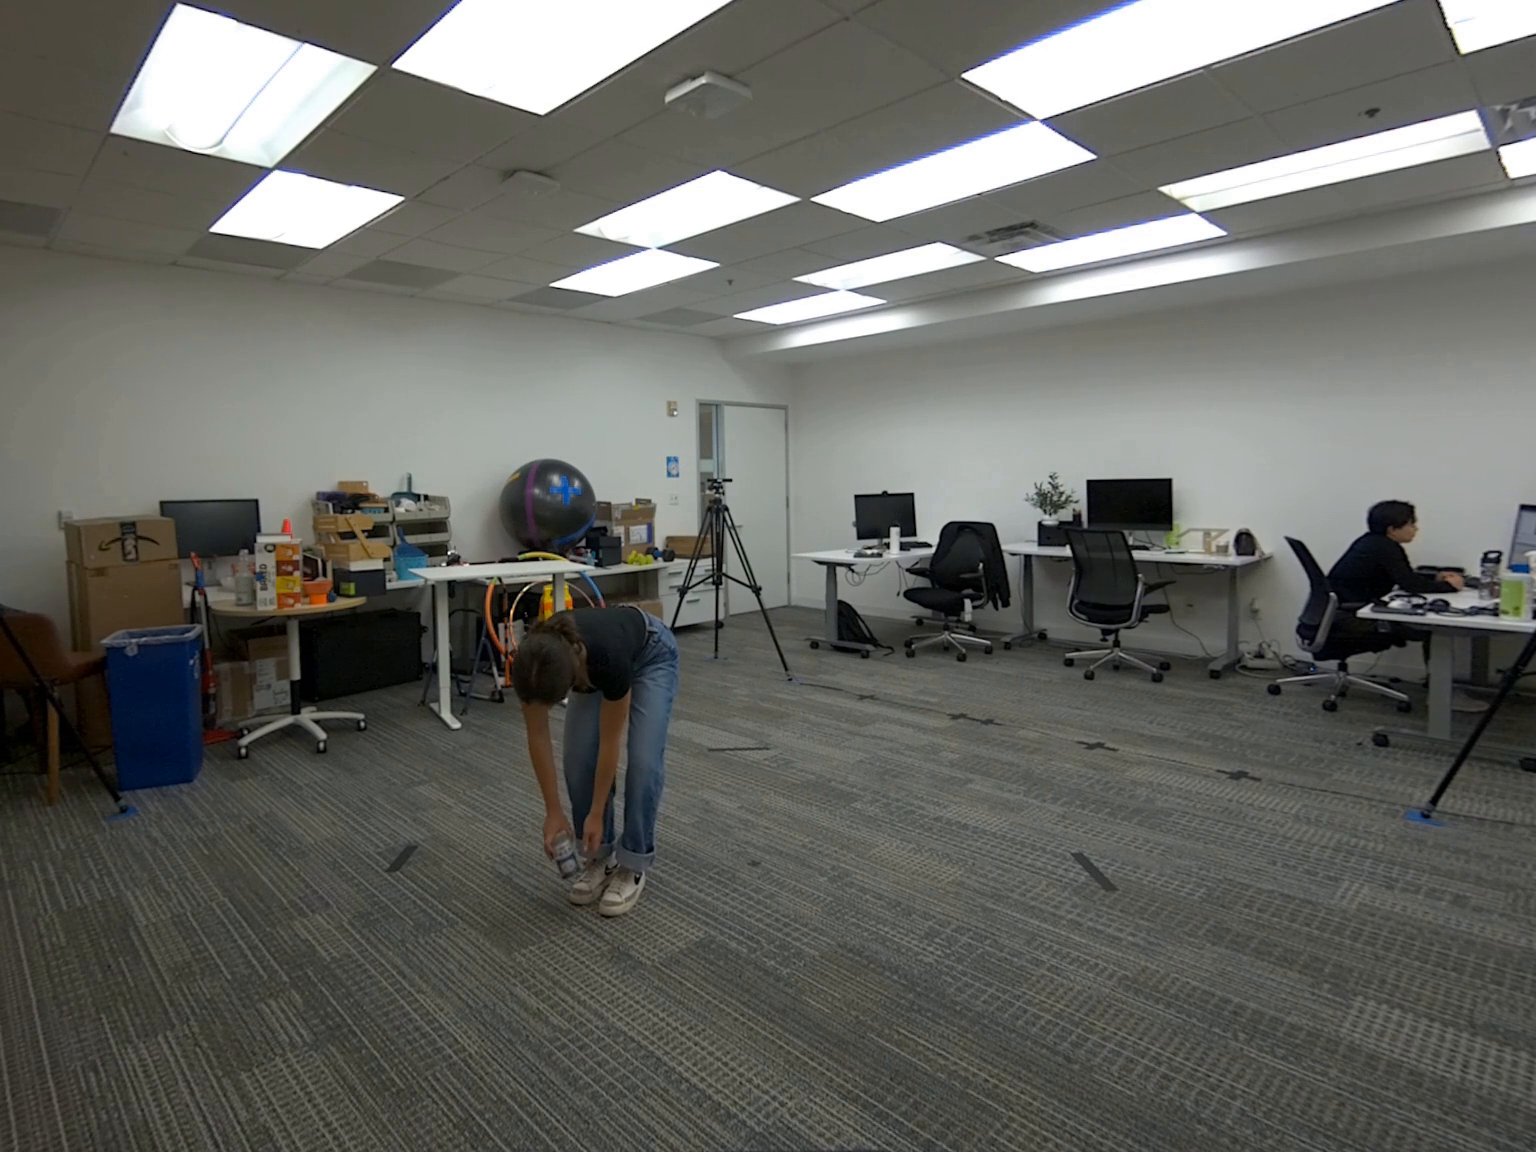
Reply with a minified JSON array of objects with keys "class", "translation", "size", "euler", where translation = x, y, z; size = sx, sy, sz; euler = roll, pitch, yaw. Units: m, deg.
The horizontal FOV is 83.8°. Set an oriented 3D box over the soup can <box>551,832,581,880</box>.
[{"class":"soup can","translation":[-0.643,0.917,2.721],"size":[0.067,0.120,0.068],"euler":[-13,9,1]}]
